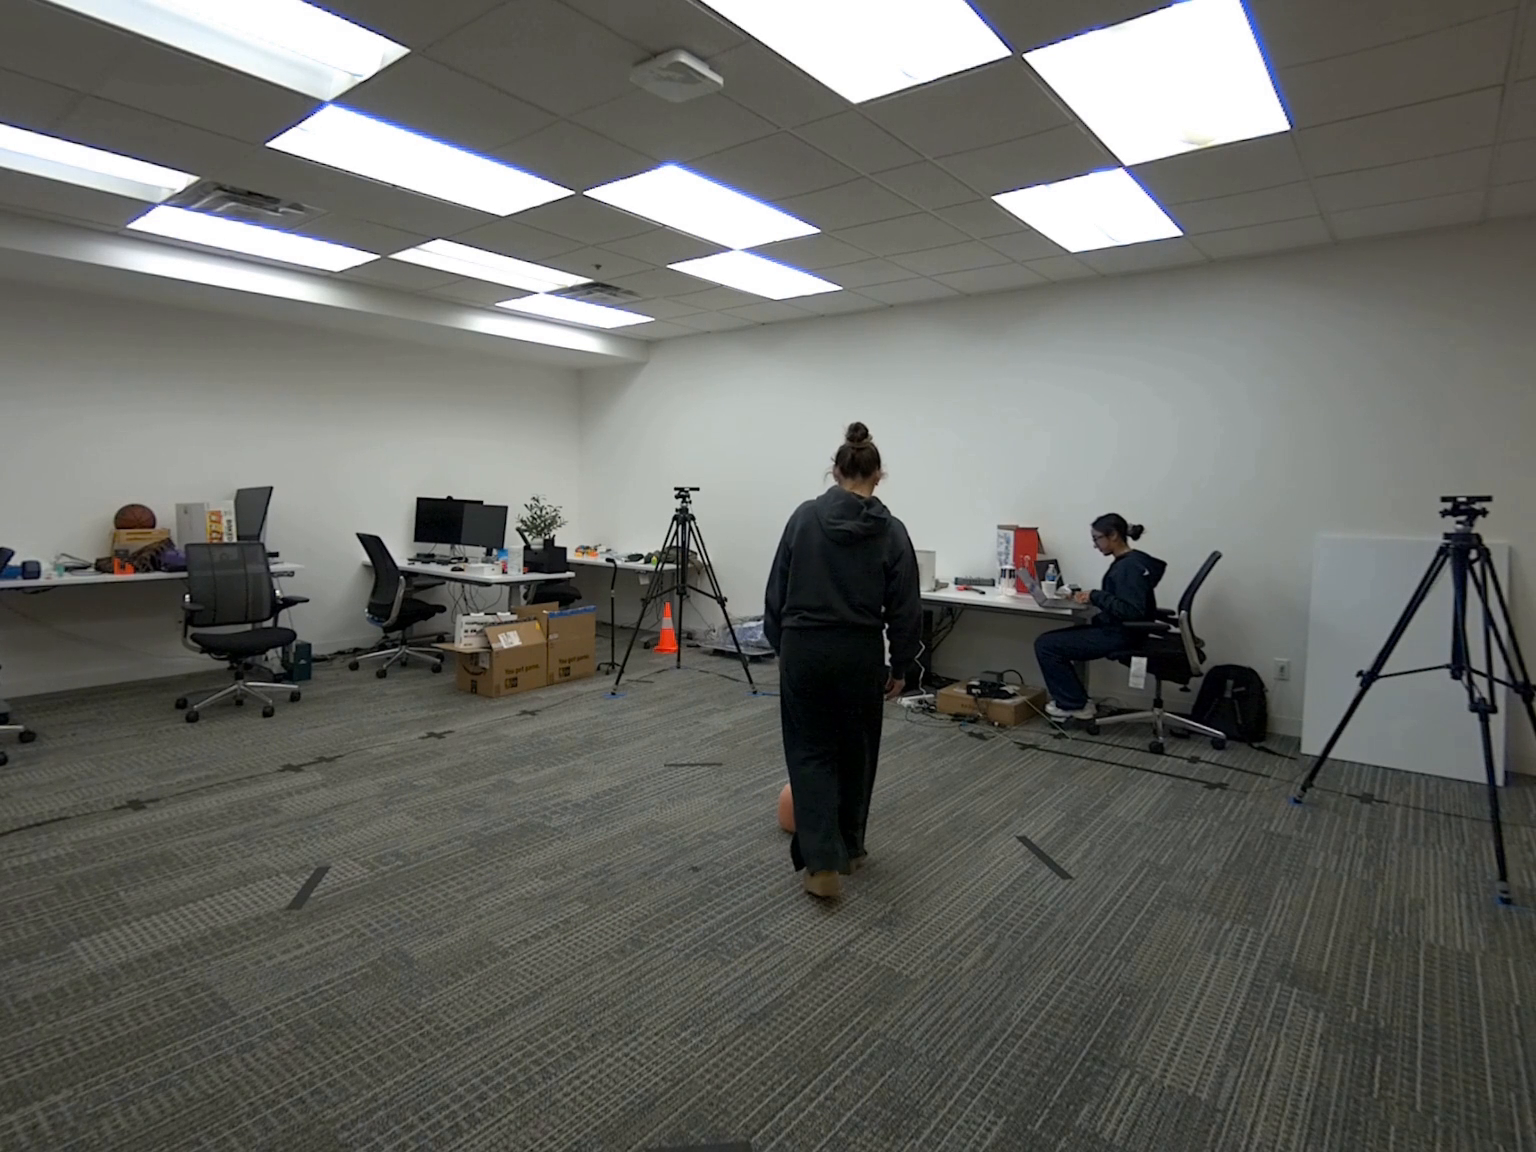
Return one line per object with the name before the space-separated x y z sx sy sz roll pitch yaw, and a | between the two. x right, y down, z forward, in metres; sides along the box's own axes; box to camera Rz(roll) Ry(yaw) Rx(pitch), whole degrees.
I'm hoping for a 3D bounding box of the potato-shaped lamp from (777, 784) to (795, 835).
potato-shaped lamp | 0.124 0.931 3.472 0.170 0.197 0.166 6 6 40
